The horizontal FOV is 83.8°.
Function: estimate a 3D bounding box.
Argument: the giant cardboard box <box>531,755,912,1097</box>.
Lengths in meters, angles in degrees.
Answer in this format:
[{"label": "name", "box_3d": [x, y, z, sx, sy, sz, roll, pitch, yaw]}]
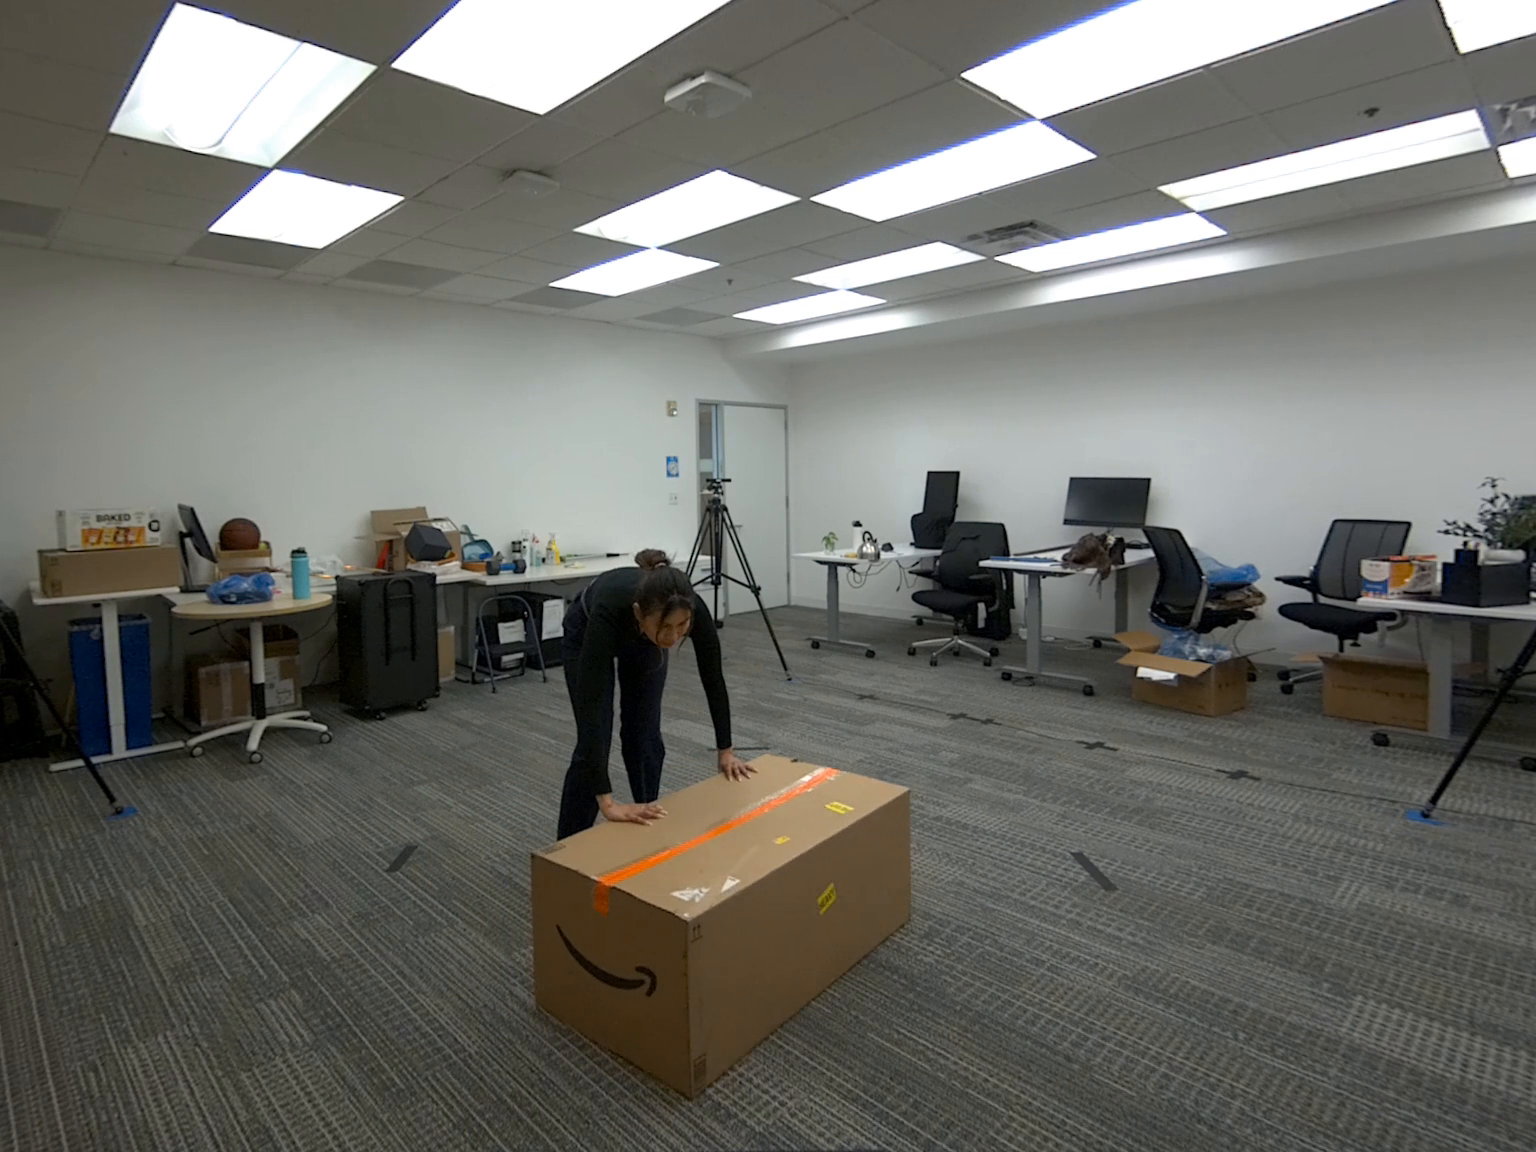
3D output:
[{"label": "giant cardboard box", "box_3d": [-0.080, 0.905, 2.478, 0.594, 0.424, 1.000, 2, 7, 39]}]
